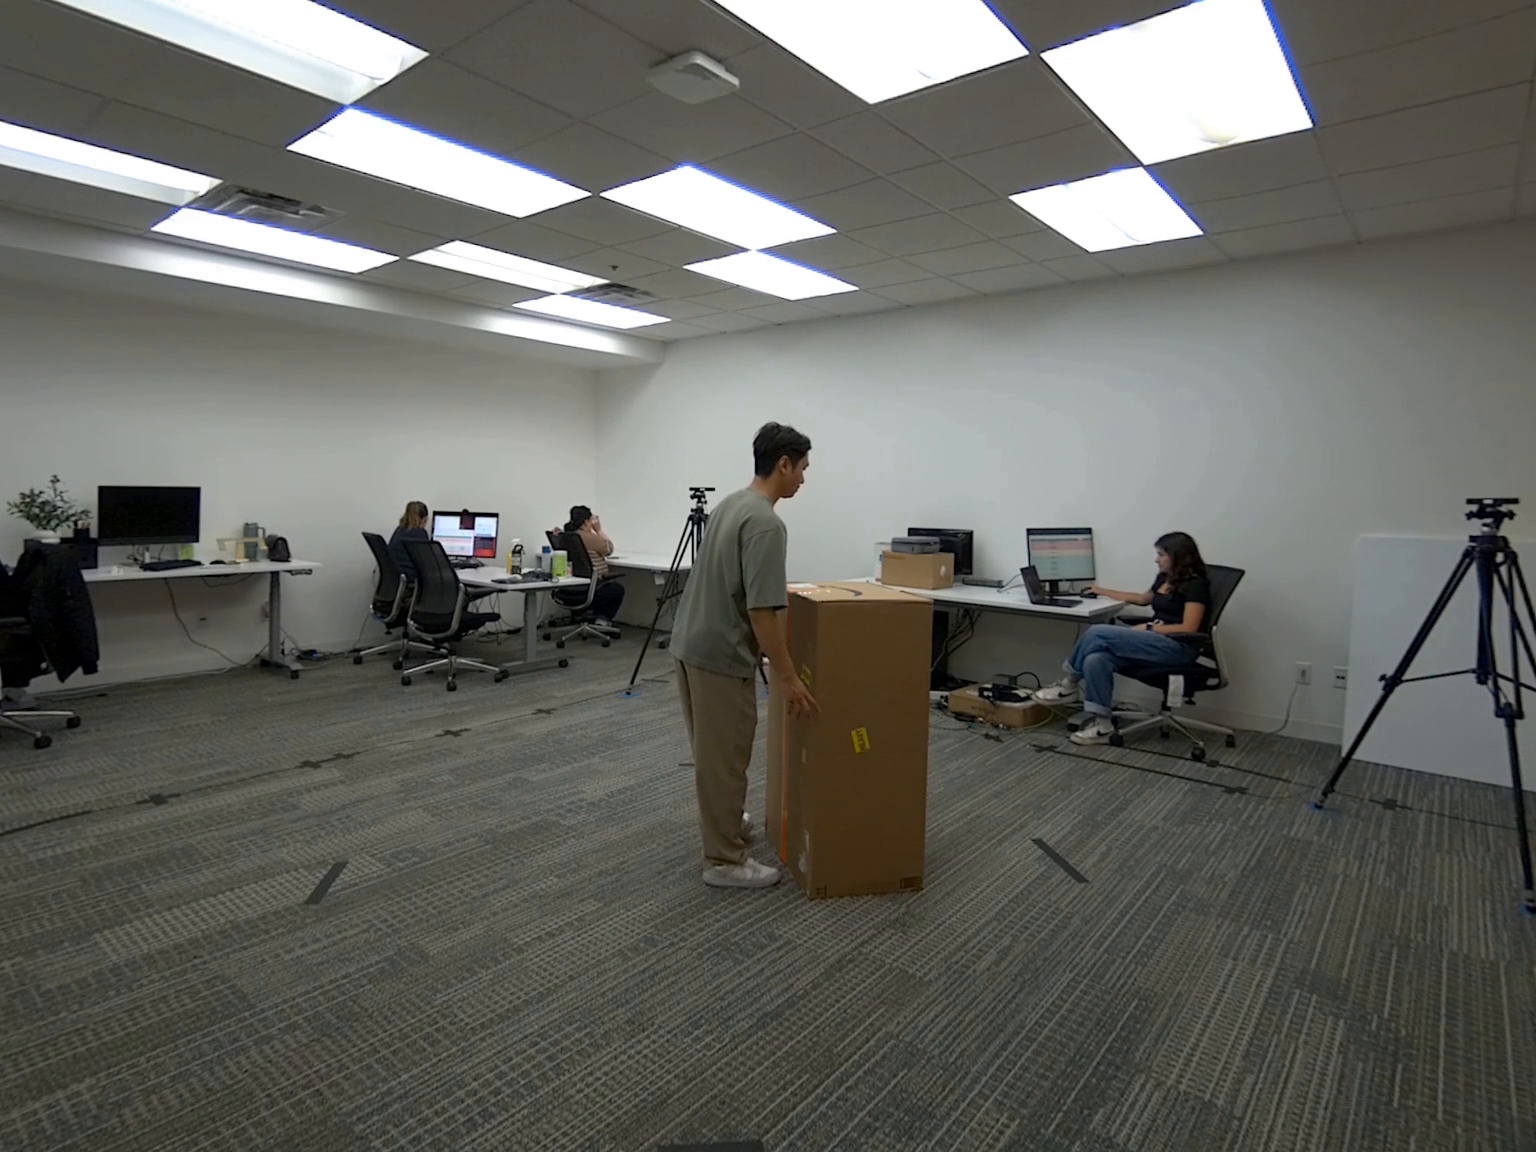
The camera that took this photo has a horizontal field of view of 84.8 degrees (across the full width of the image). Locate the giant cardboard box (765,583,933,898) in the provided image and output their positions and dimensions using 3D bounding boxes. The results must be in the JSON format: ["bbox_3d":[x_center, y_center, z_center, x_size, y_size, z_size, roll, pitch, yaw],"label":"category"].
[{"bbox_3d":[0.280,0.564,3.178,0.420,1.023,0.587,0,3,-14],"label":"giant cardboard box"}]
